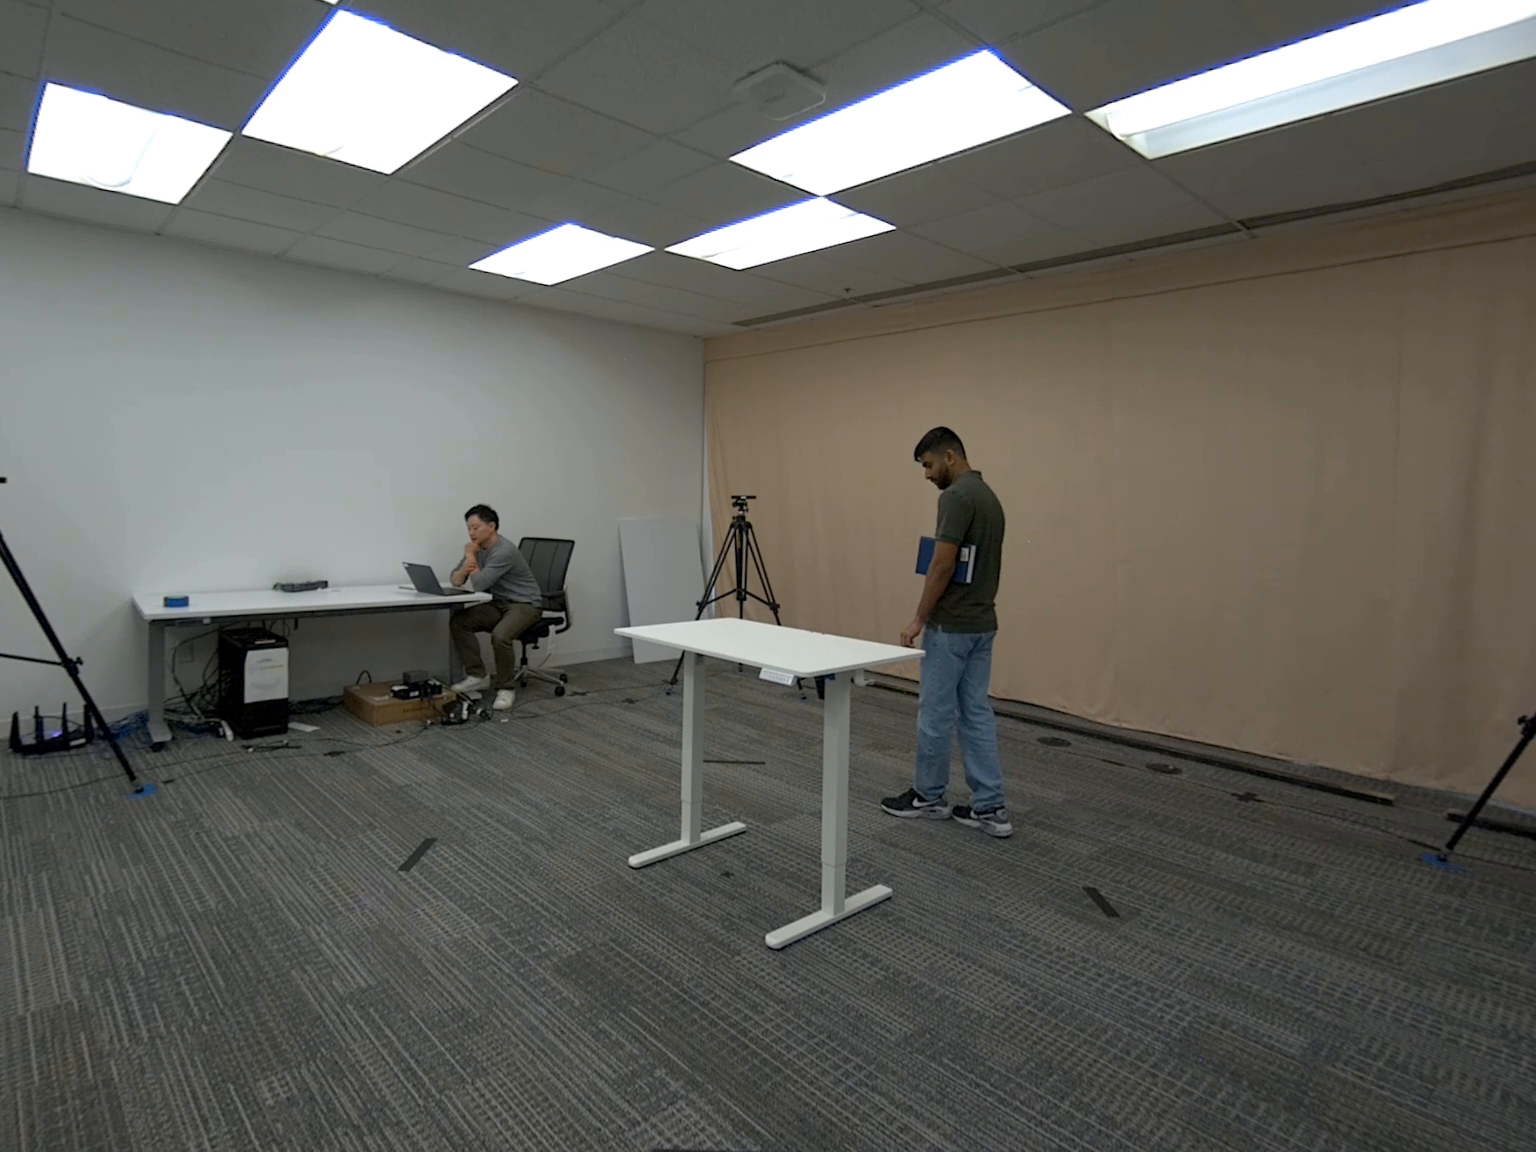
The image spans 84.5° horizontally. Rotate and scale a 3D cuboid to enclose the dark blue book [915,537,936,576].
[{"bbox_3d":[0.741,-0.066,3.524,0.252,0.163,0.044,12,7,43],"label":"dark blue book"}]
